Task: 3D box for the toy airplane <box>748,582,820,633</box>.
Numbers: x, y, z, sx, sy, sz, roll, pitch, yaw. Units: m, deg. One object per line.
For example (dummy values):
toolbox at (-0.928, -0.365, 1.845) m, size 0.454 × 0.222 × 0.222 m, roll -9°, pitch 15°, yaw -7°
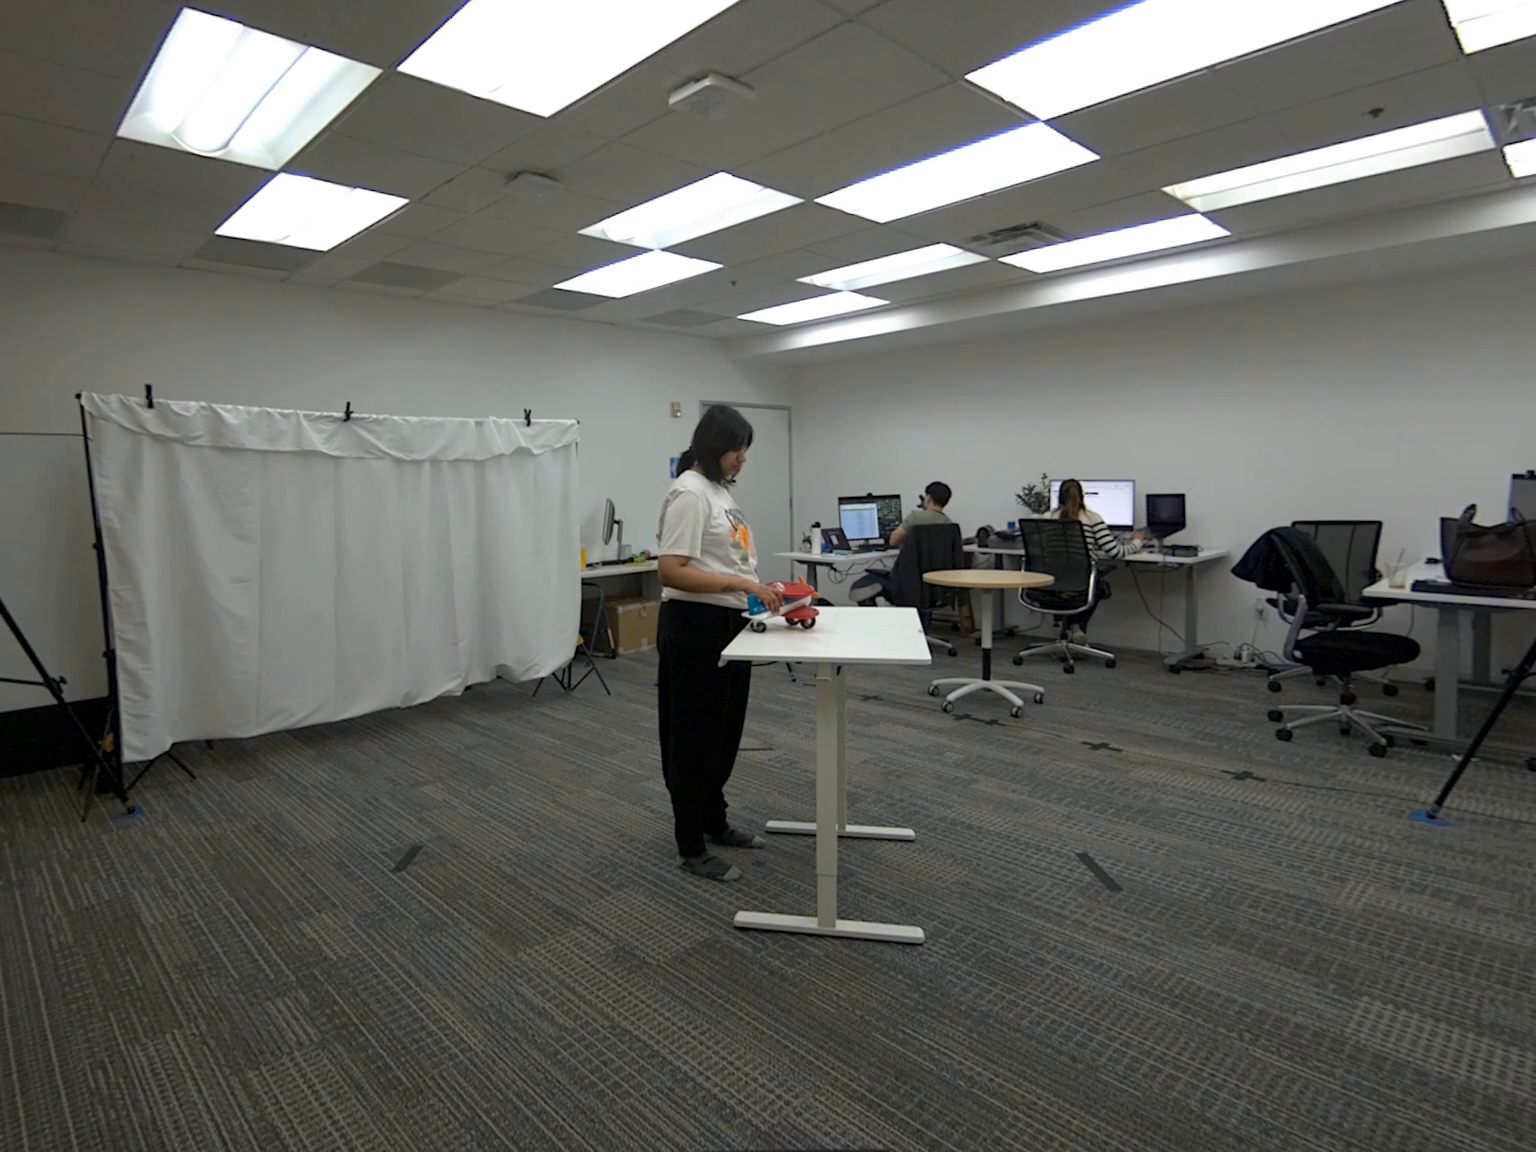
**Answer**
toy airplane at (0.051, 0.109, 2.914) m, size 0.258 × 0.156 × 0.253 m, roll 2°, pitch 6°, yaw 29°
